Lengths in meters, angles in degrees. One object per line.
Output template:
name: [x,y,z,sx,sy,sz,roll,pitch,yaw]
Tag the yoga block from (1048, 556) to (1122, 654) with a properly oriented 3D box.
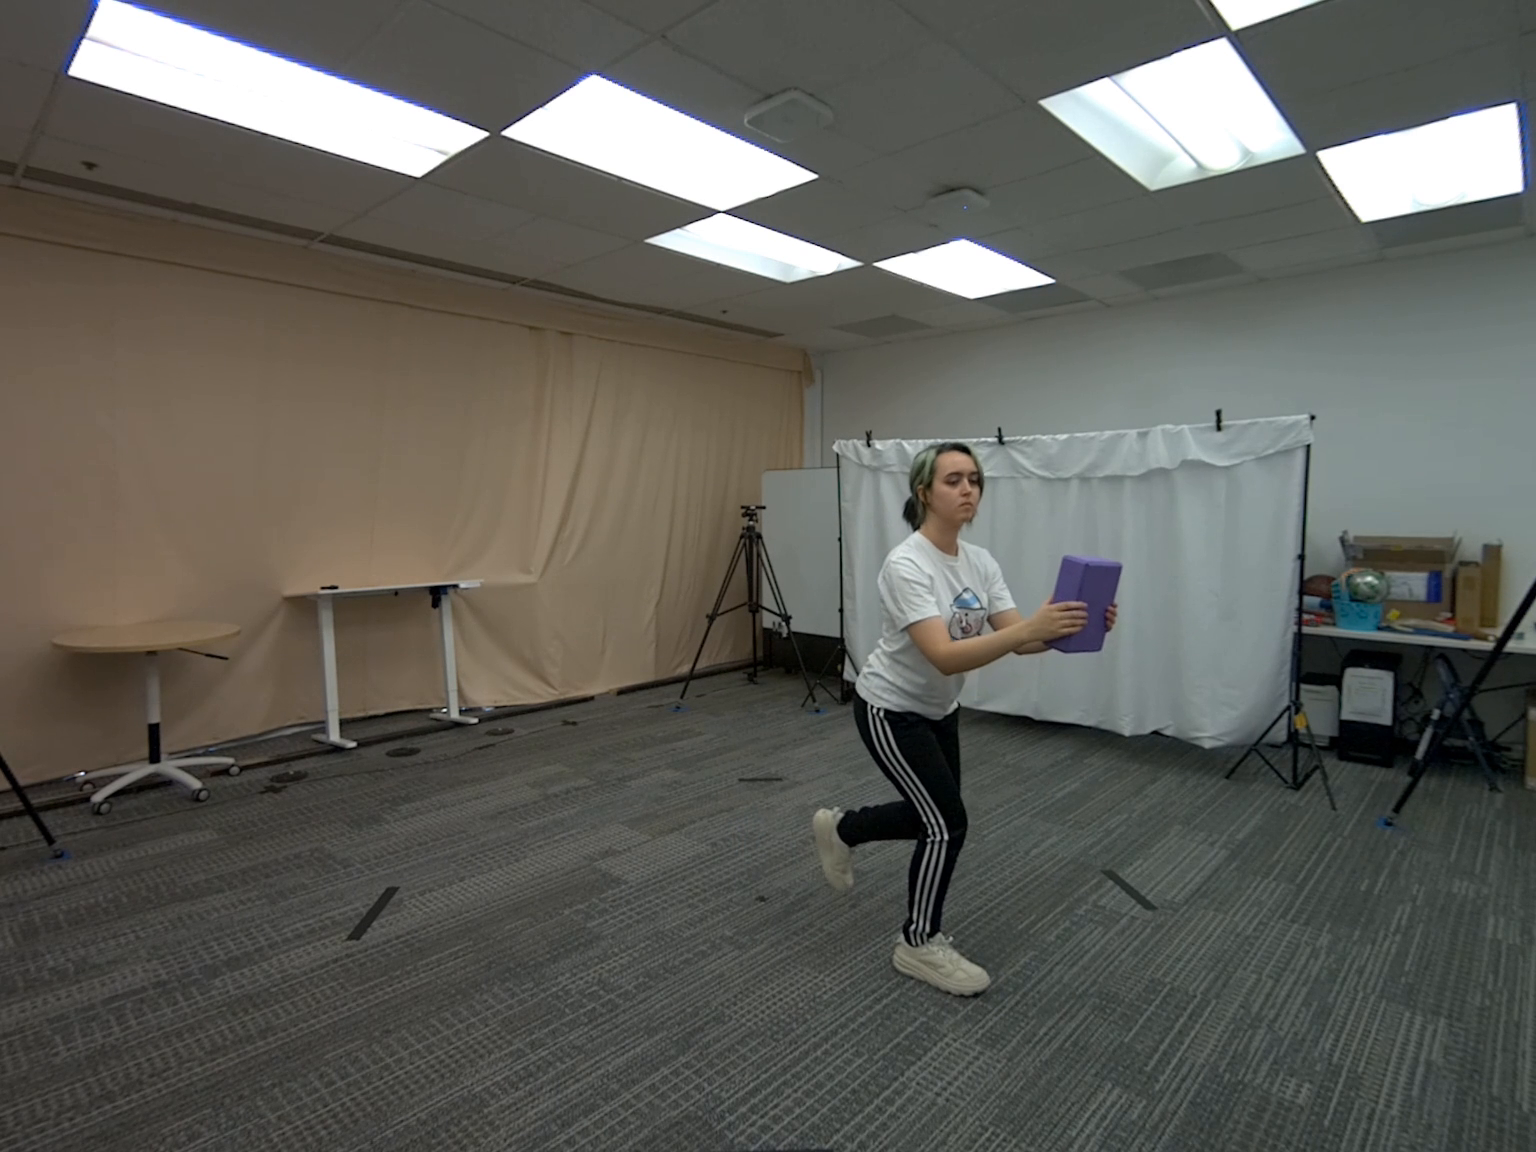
yoga block: [0.774,0.072,2.065,0.144,0.228,0.079,2,12,-34]
